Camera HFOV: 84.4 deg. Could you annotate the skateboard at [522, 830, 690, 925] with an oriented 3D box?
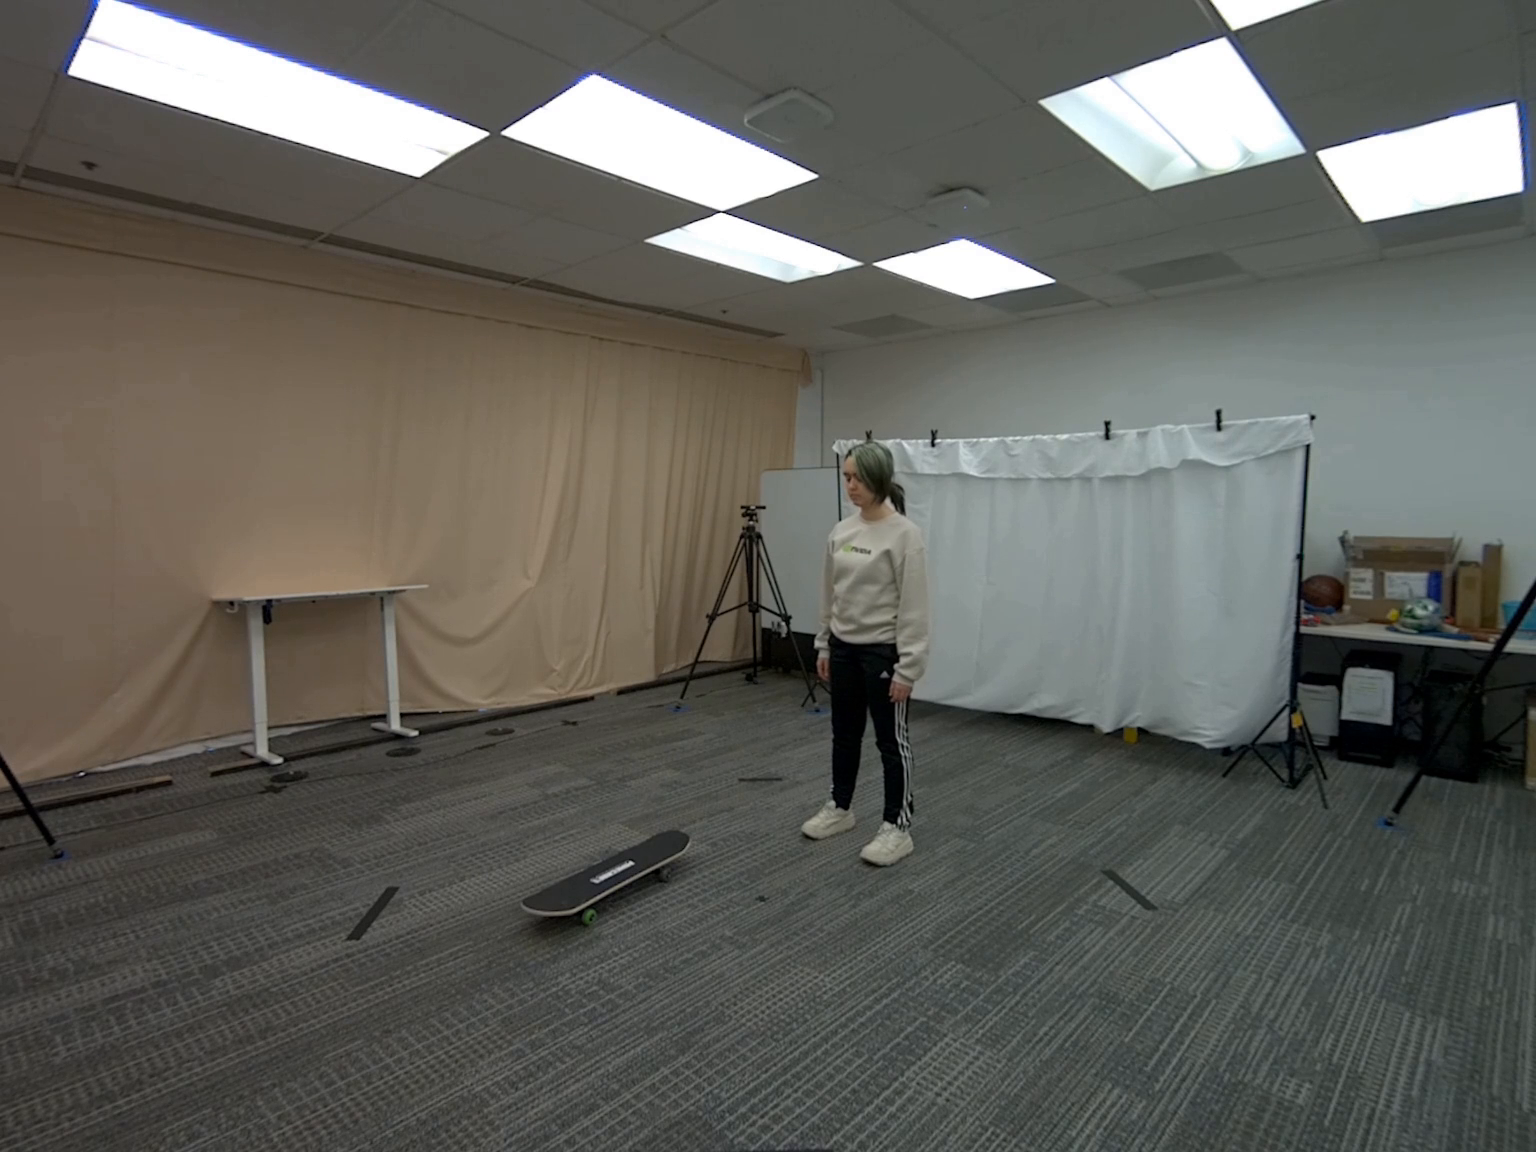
[{"bbox_3d":[-0.559,1.091,3.013,0.199,0.110,0.763,2,5,34],"label":"skateboard"}]
